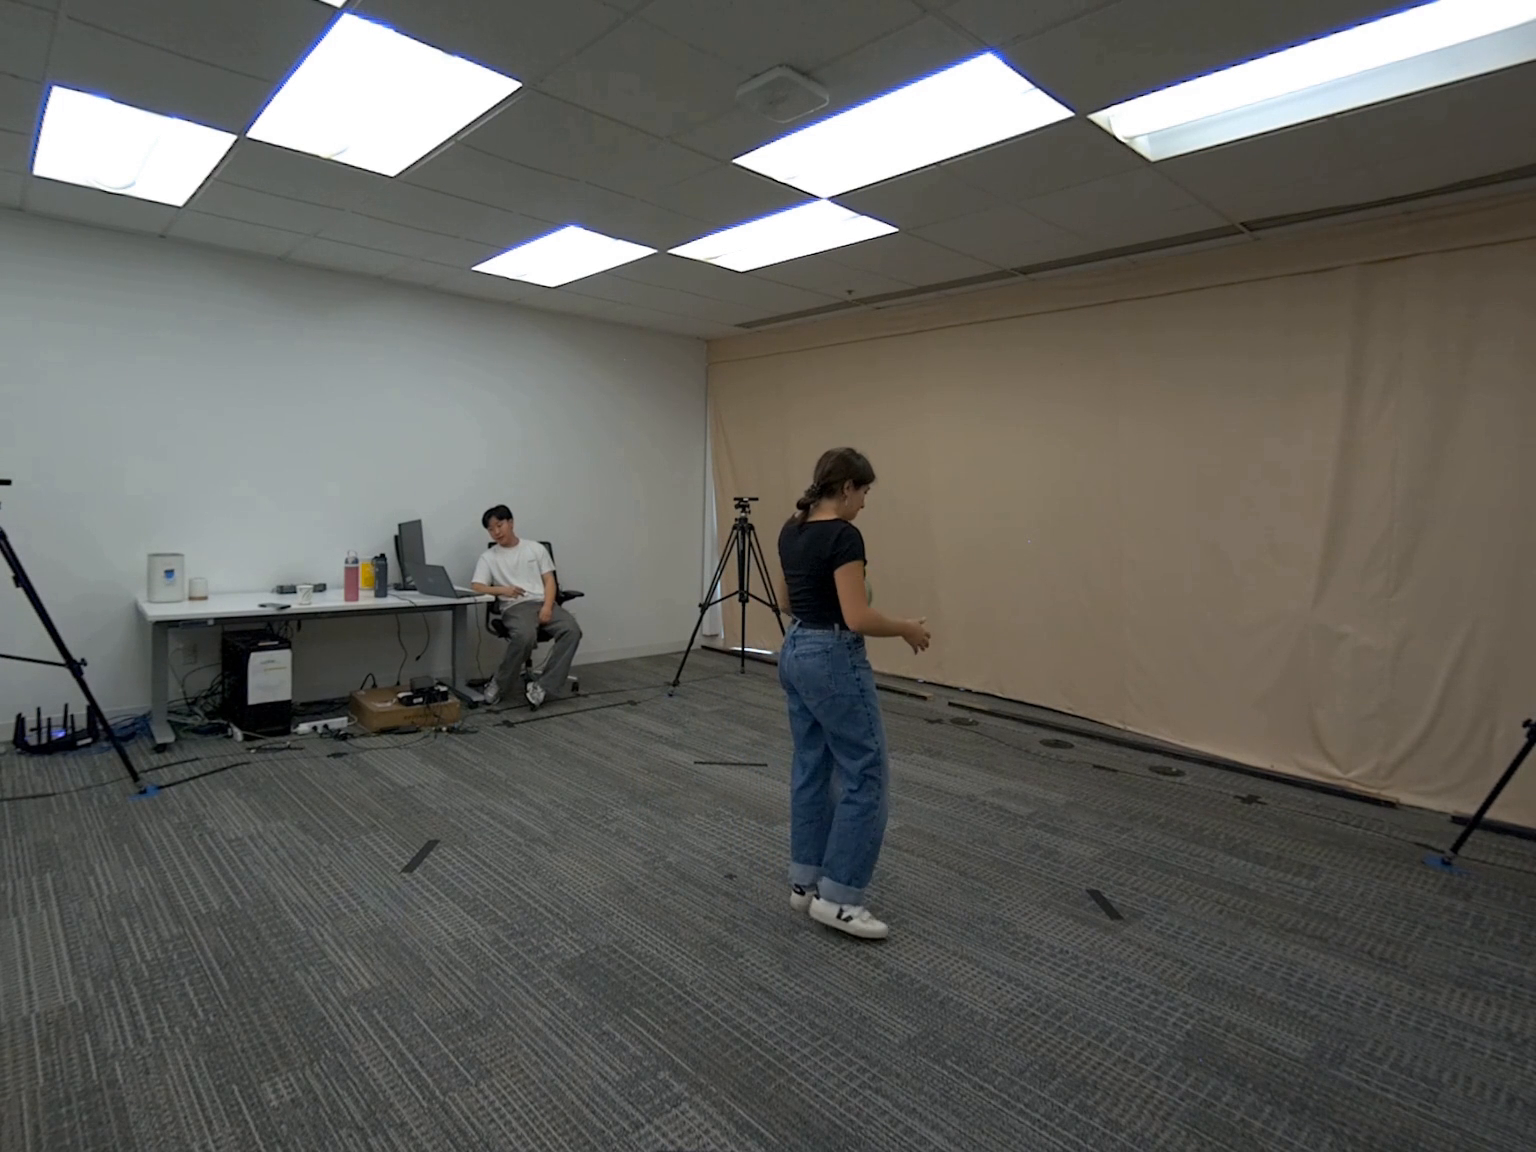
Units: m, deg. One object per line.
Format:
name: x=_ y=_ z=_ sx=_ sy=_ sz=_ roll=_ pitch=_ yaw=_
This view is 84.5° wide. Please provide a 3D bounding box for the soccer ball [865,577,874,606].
soccer ball: x=0.300 y=0.085 z=3.169 sx=0.187 sy=0.187 sz=0.188 roll=1 pitch=4 yaw=-1
